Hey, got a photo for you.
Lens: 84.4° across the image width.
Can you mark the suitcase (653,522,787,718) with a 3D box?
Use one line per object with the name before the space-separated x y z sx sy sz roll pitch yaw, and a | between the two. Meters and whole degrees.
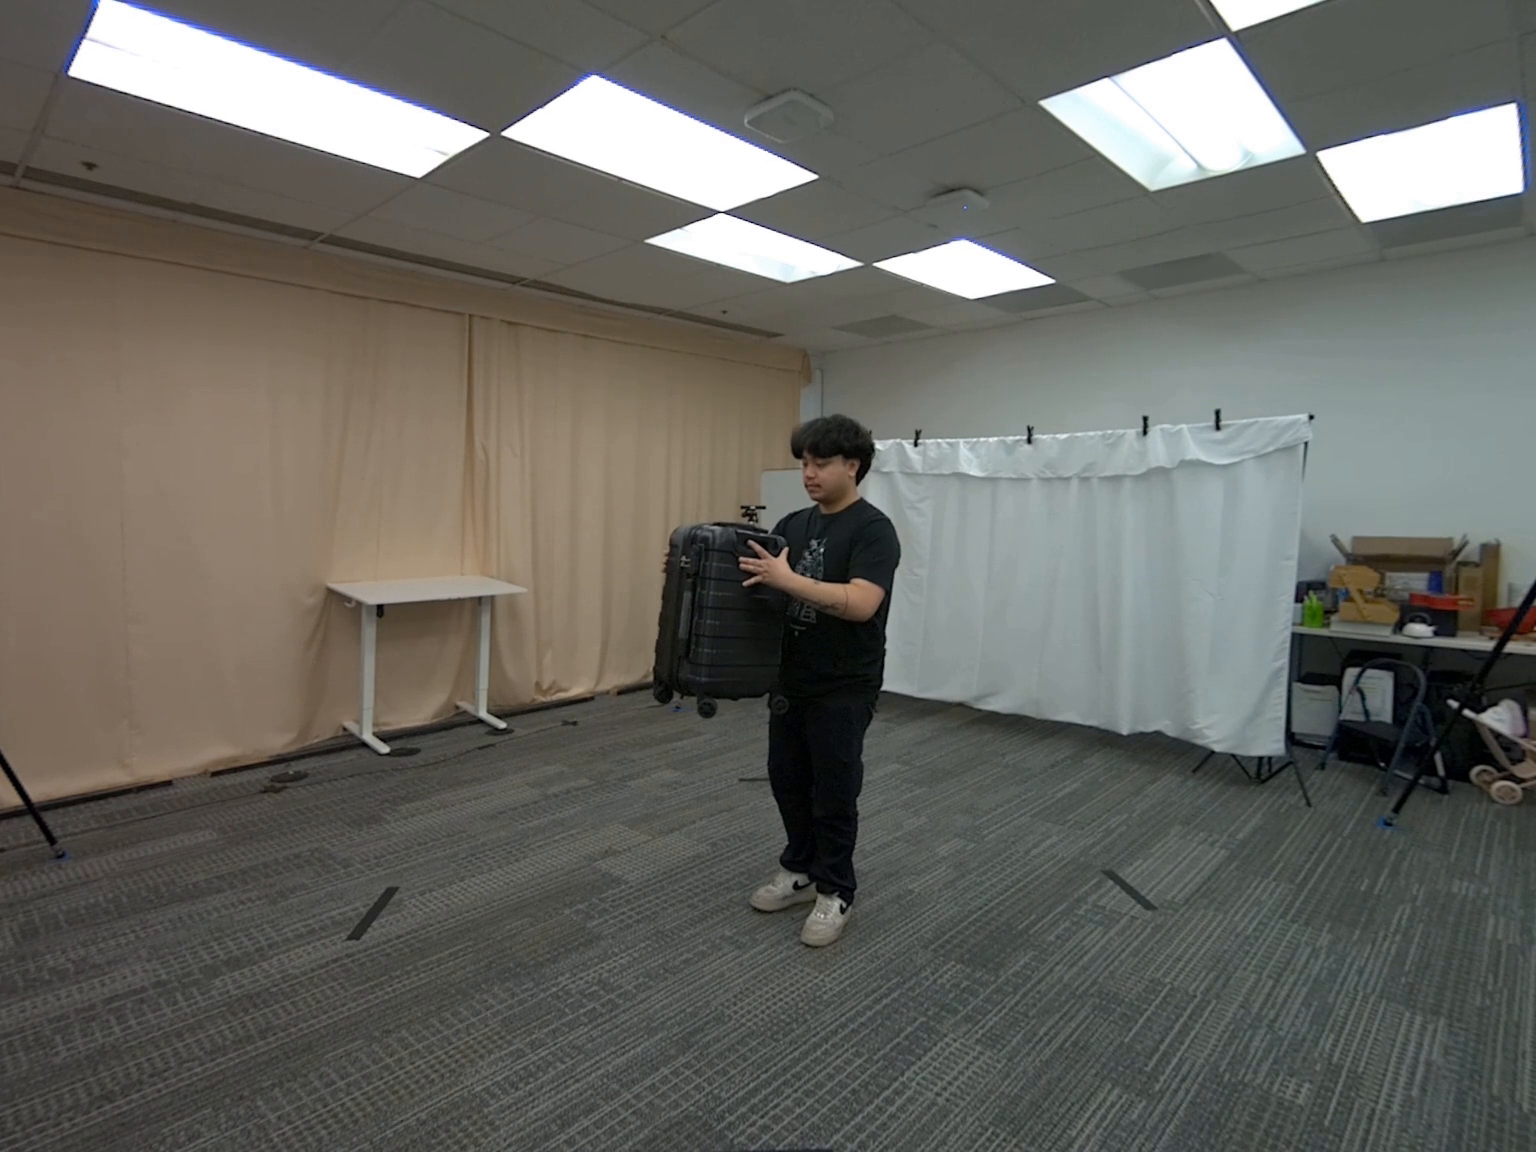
suitcase | -0.129 0.122 2.520 0.363 0.550 0.256 6 -2 -43
